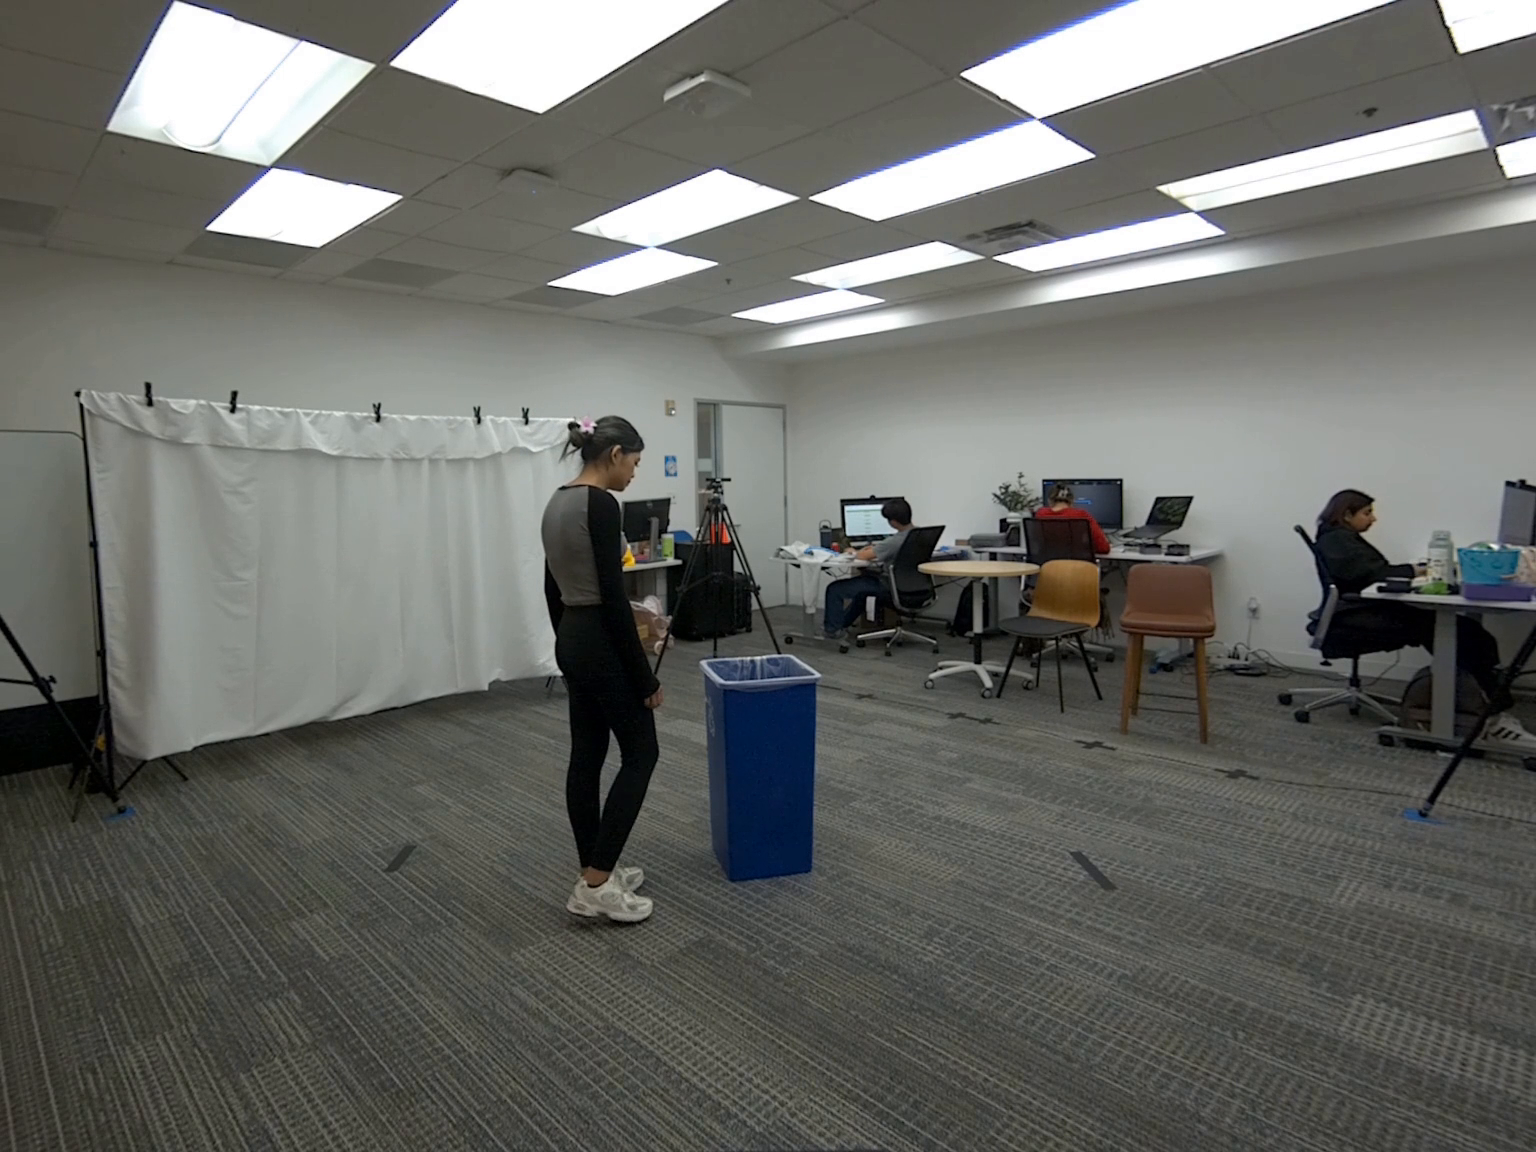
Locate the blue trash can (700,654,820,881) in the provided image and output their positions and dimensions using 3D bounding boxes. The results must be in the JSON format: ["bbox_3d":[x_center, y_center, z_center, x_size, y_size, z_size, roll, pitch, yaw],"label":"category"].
[{"bbox_3d":[-0.035,0.685,3.104,0.369,0.711,0.385,-2,5,-16],"label":"blue trash can"}]
